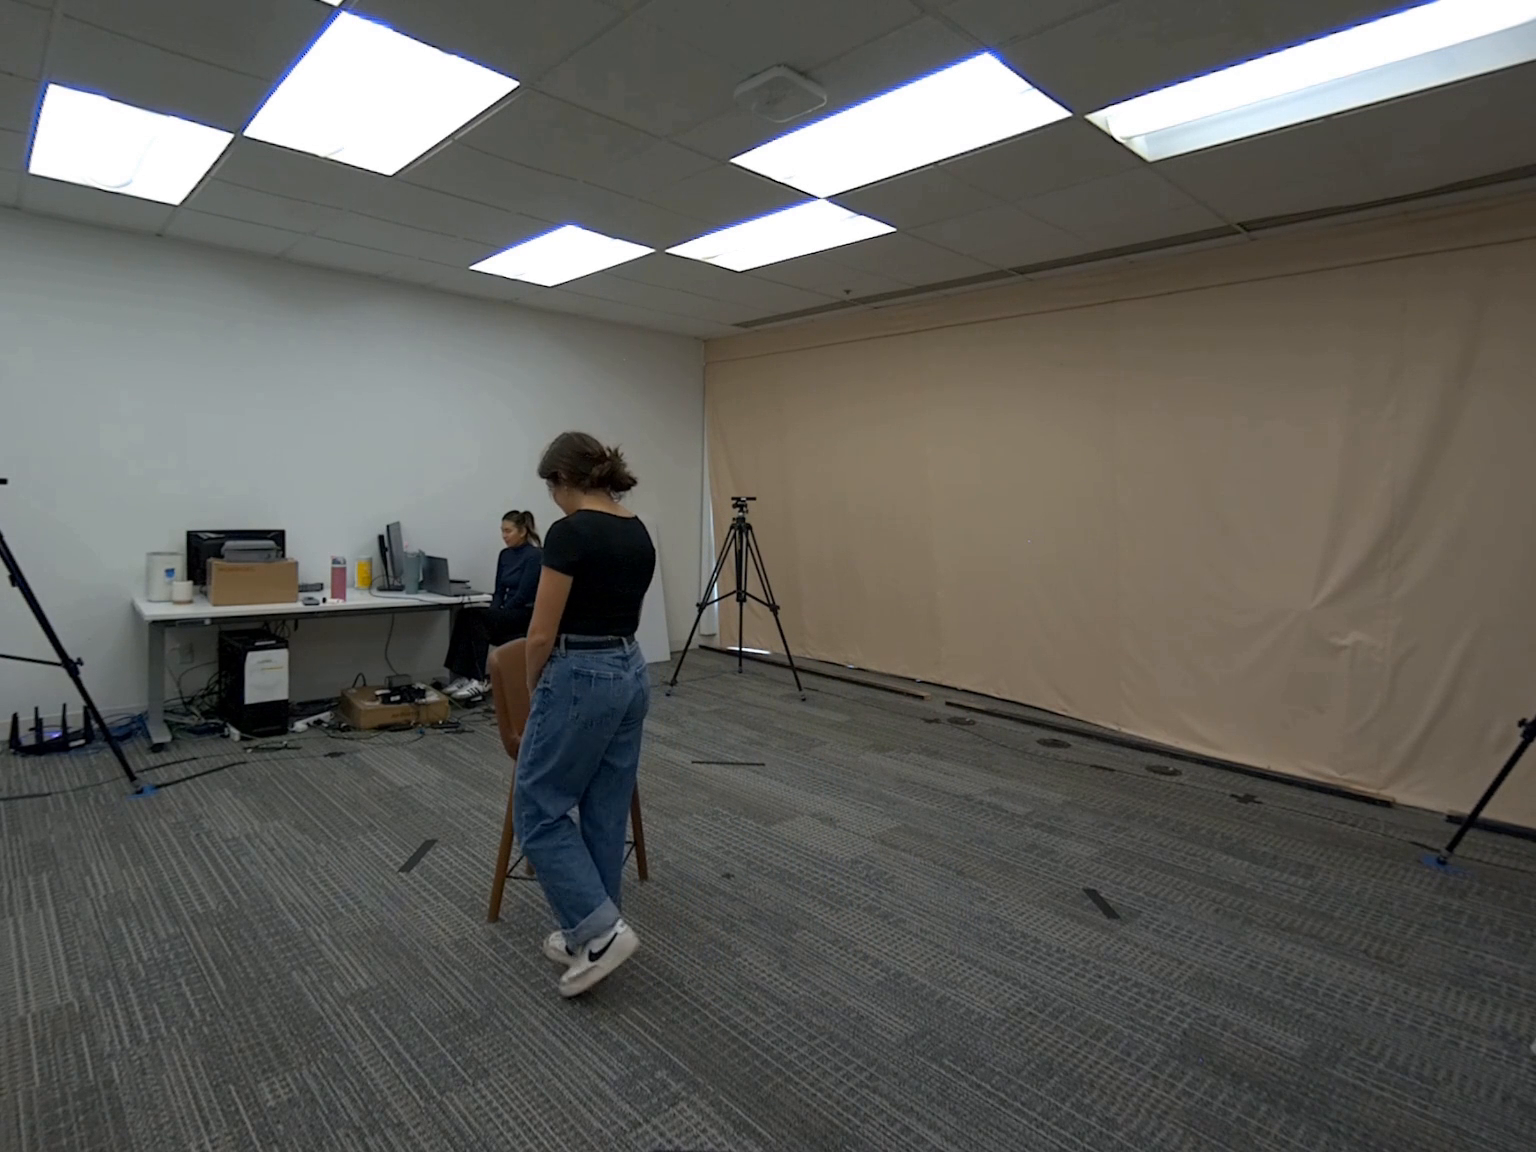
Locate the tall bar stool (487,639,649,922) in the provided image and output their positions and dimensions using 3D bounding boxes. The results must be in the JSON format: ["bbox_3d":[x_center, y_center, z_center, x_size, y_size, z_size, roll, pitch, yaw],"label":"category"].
[{"bbox_3d":[-0.679,0.686,2.866,0.470,0.887,0.455,1,4,5],"label":"tall bar stool"}]
